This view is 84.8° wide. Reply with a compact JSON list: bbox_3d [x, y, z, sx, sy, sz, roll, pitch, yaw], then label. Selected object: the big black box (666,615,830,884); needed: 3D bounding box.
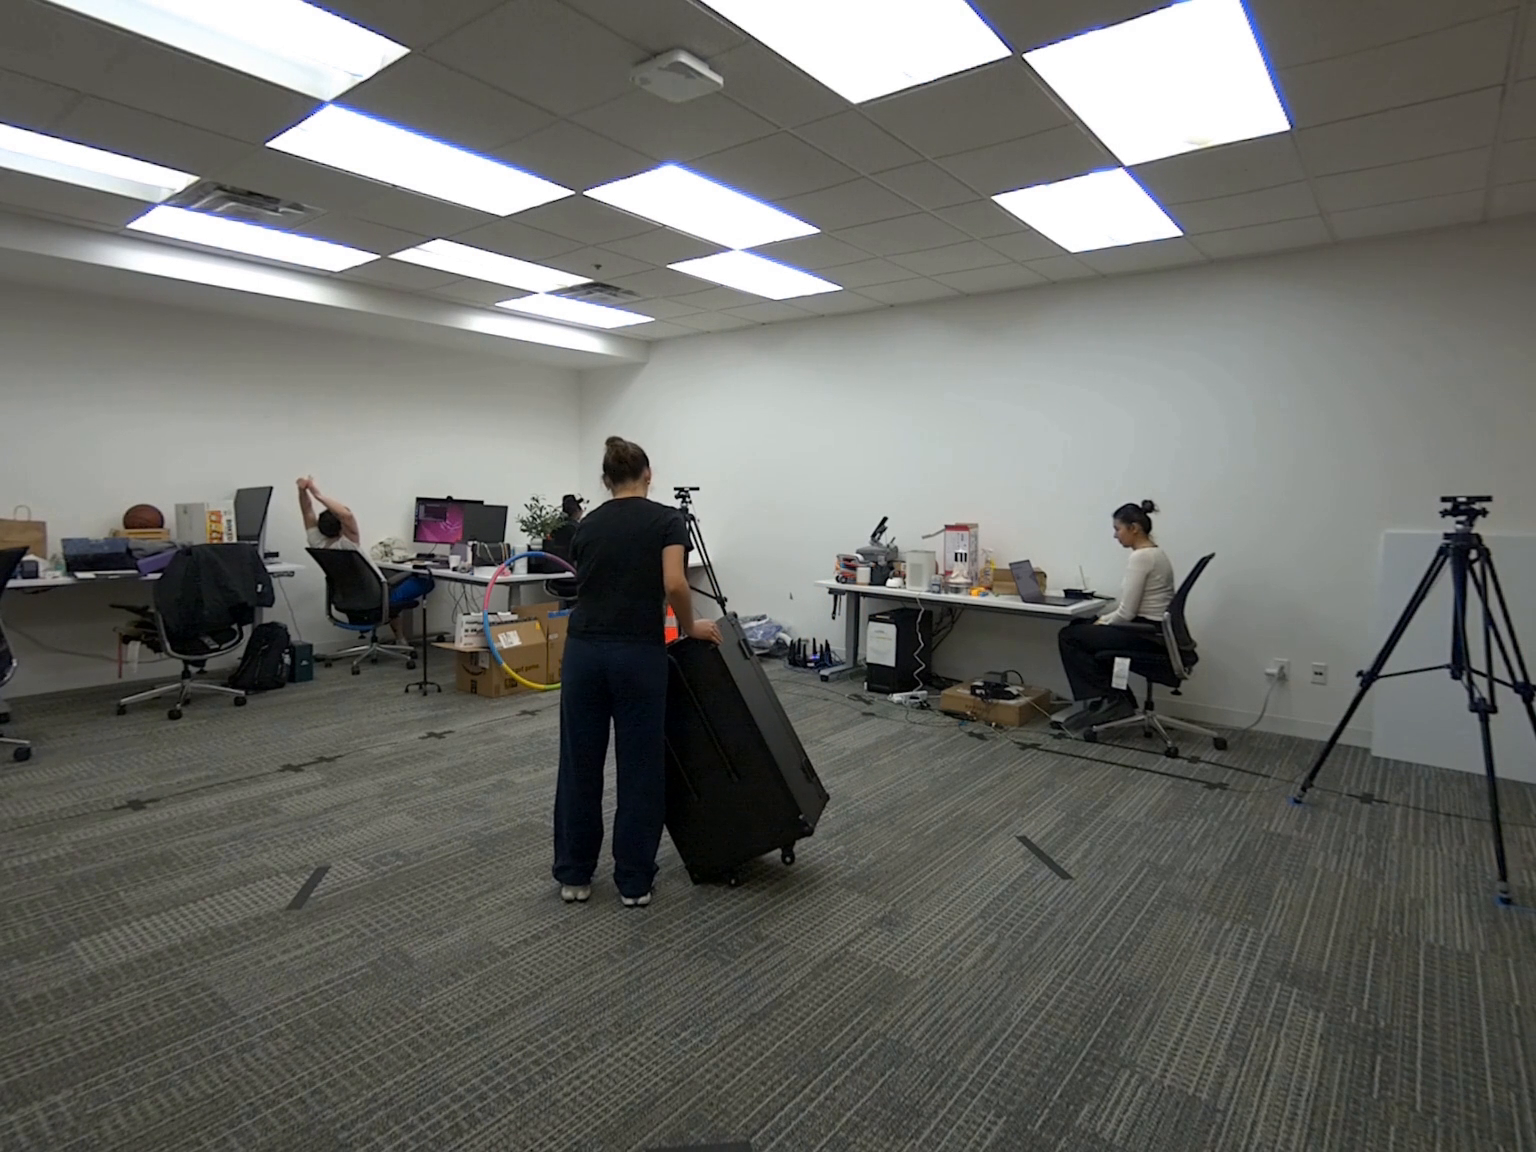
[{"bbox_3d":[-0.161,0.634,3.118,0.525,0.867,0.391,-29,-4,16],"label":"big black box"}]
